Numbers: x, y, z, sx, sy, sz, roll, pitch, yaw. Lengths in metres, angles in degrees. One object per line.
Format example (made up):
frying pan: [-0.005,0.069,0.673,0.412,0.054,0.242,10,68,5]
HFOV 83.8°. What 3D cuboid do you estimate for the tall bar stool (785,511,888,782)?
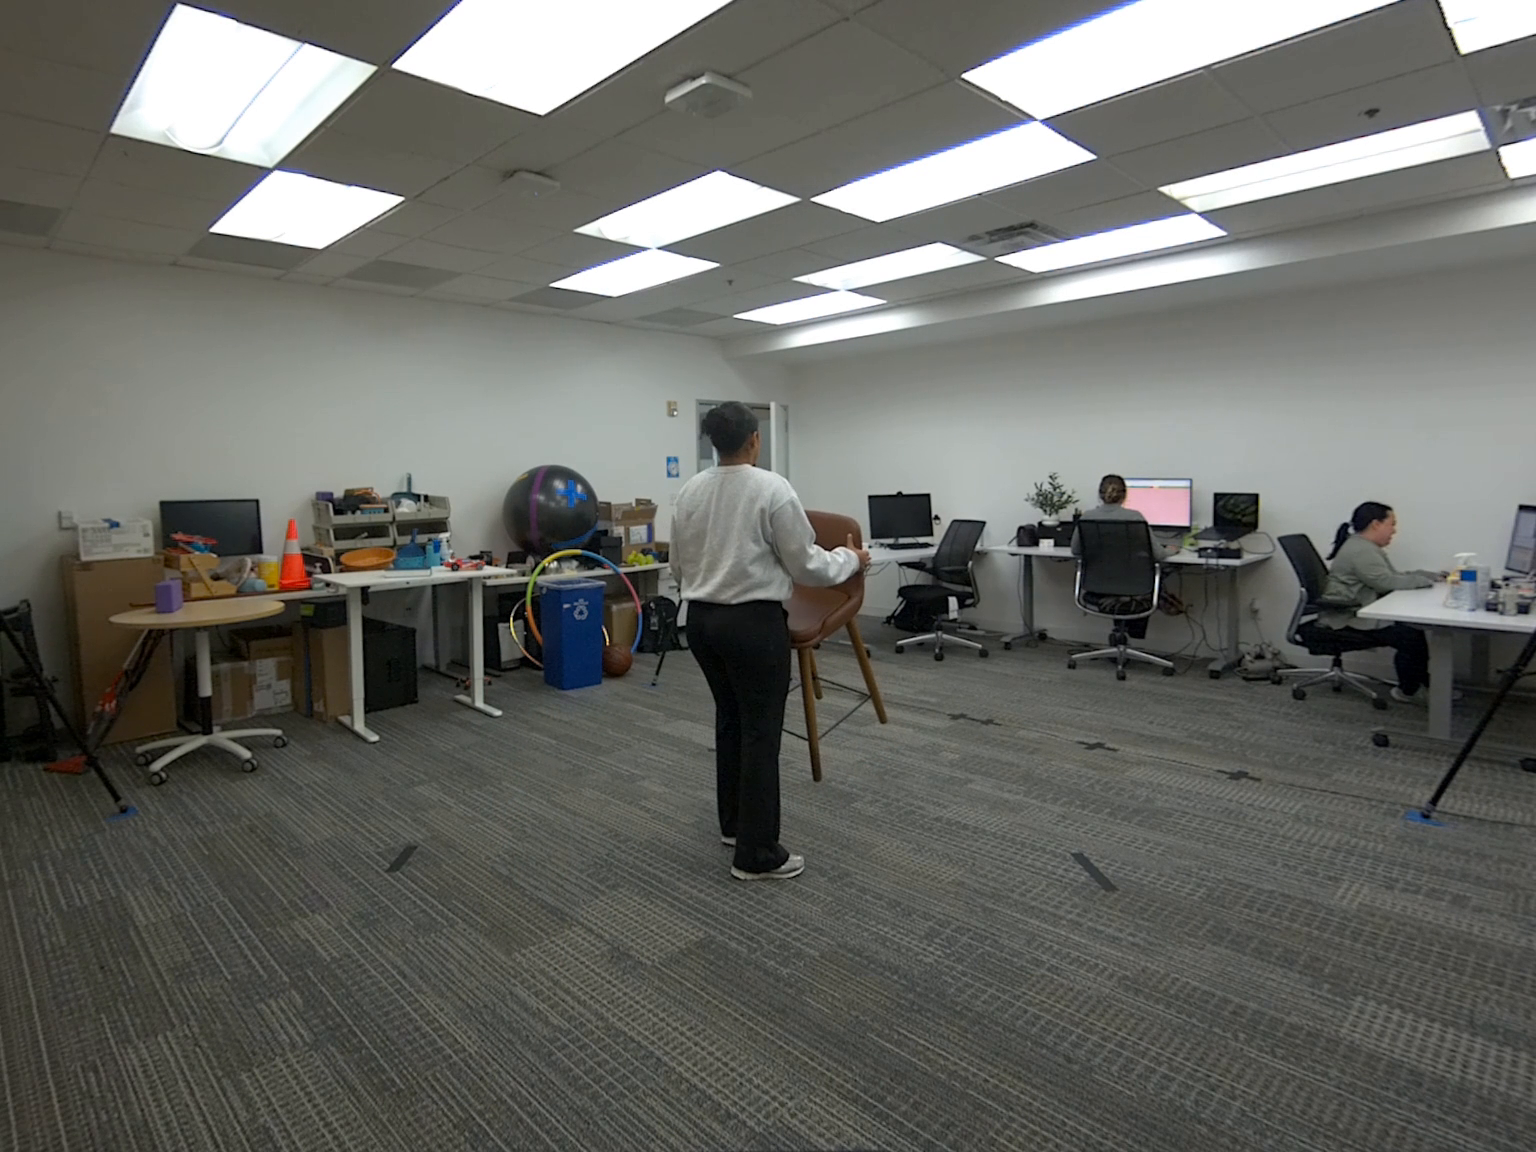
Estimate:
tall bar stool: [0.131,0.247,3.298,0.461,0.873,0.472,-25,25,-38]
